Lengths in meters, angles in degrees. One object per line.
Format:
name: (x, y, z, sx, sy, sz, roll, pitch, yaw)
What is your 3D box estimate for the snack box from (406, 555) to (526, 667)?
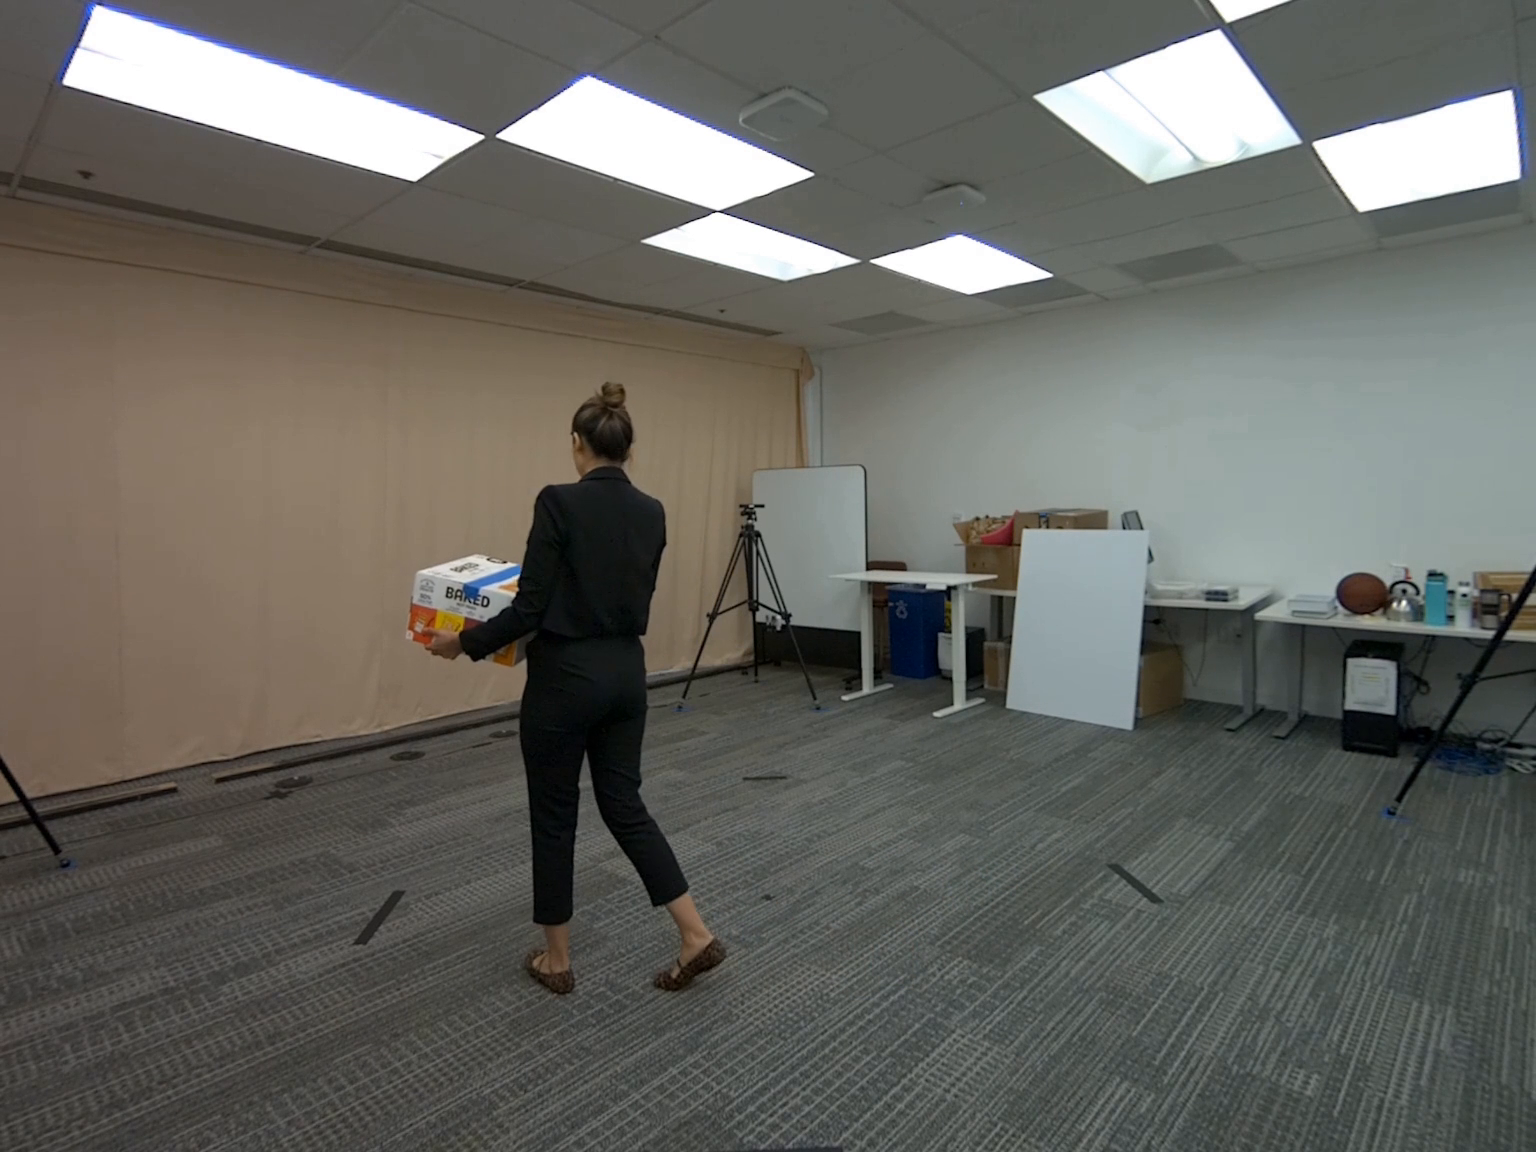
snack box: (-0.837, 0.095, 2.586, 0.344, 0.205, 0.402, 14, 9, 7)
